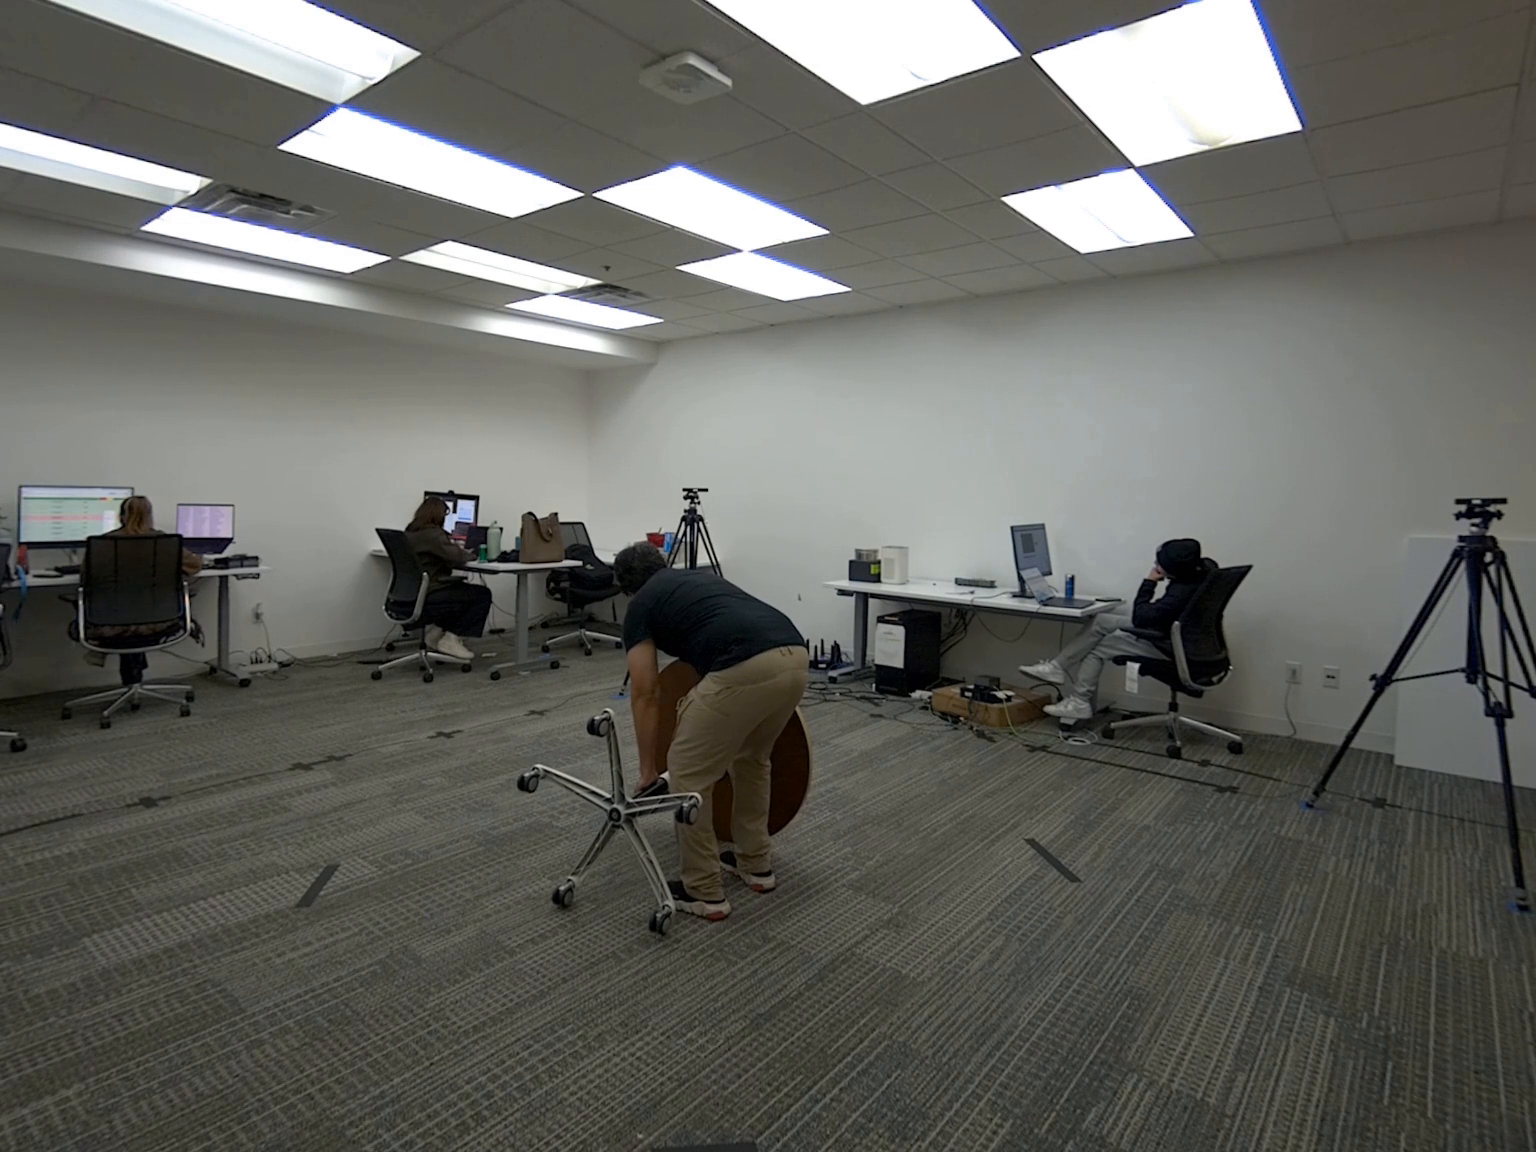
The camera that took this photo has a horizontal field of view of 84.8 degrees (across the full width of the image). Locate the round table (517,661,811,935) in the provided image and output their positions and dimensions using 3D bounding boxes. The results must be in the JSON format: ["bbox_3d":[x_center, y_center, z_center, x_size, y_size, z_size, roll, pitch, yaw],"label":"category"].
[{"bbox_3d":[-0.367,0.712,3.003,0.807,0.780,0.769,3,8,28],"label":"round table"}]
